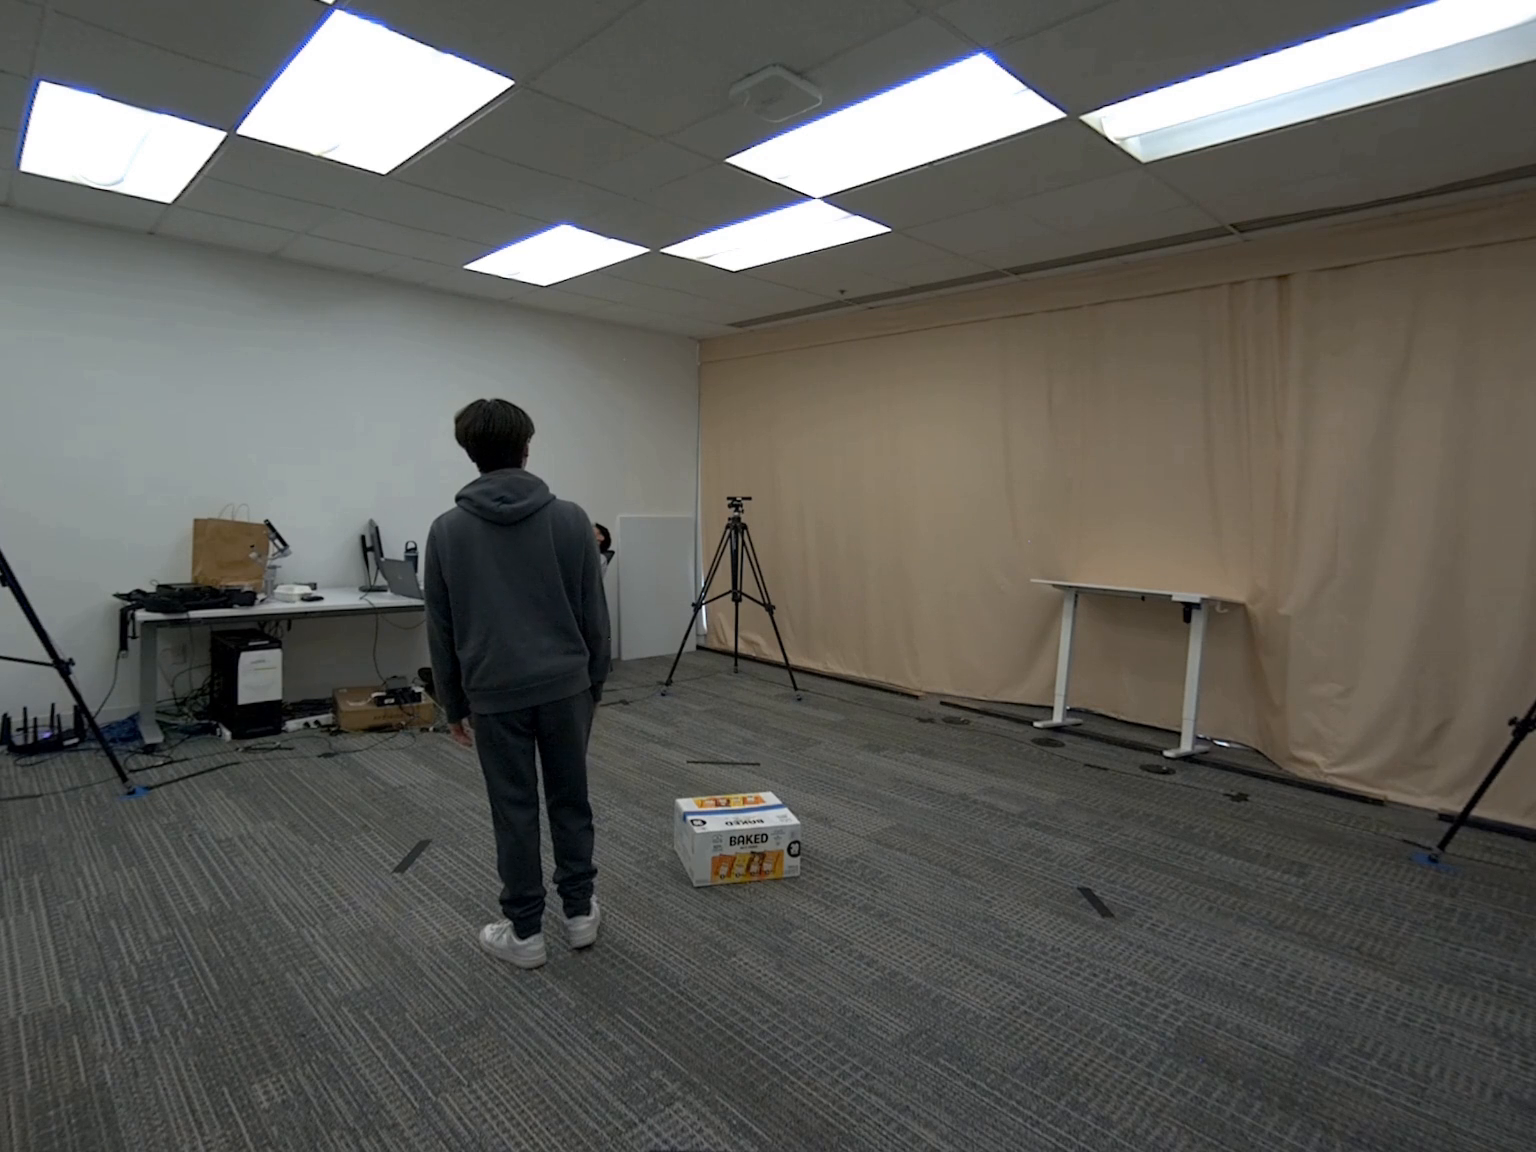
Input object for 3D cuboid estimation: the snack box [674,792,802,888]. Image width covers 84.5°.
[{"bbox_3d":[-0.131,0.994,3.207,0.400,0.205,0.346,0,4,-18],"label":"snack box"}]
